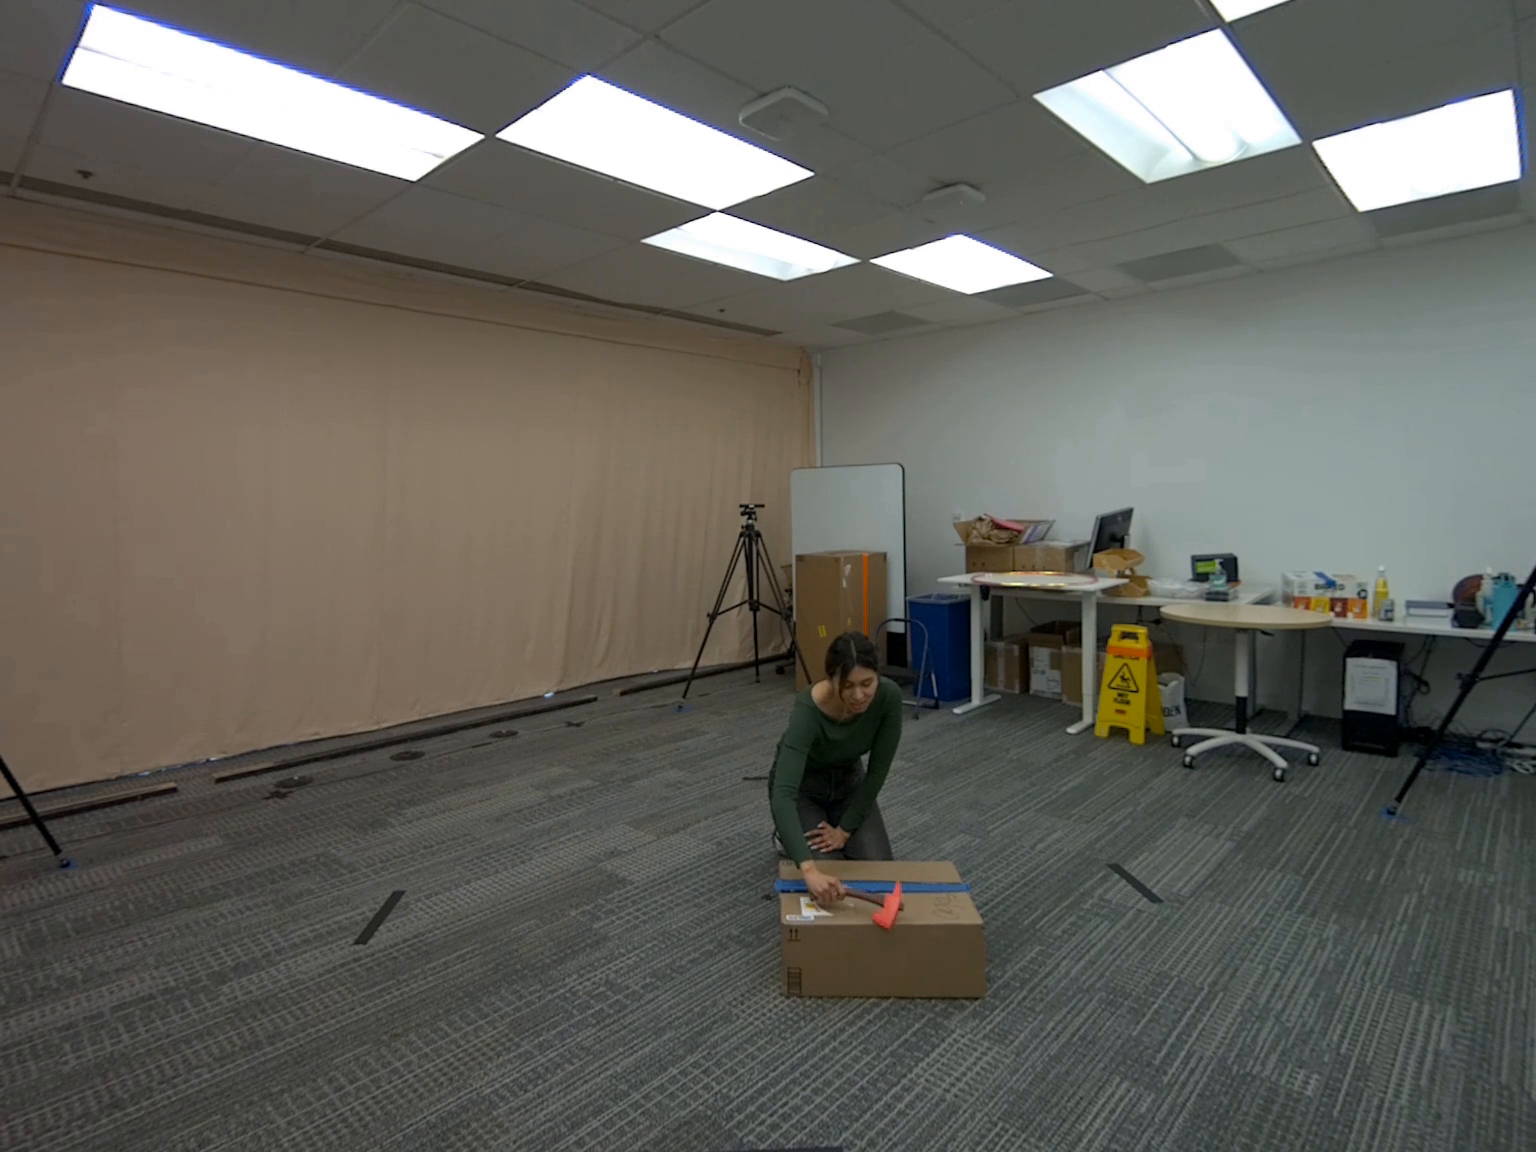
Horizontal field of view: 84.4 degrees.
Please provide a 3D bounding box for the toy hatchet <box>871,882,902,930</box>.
[{"bbox_3d":[0.255,0.932,2.414,0.274,0.029,0.133,-13,42,15],"label":"toy hatchet"}]
